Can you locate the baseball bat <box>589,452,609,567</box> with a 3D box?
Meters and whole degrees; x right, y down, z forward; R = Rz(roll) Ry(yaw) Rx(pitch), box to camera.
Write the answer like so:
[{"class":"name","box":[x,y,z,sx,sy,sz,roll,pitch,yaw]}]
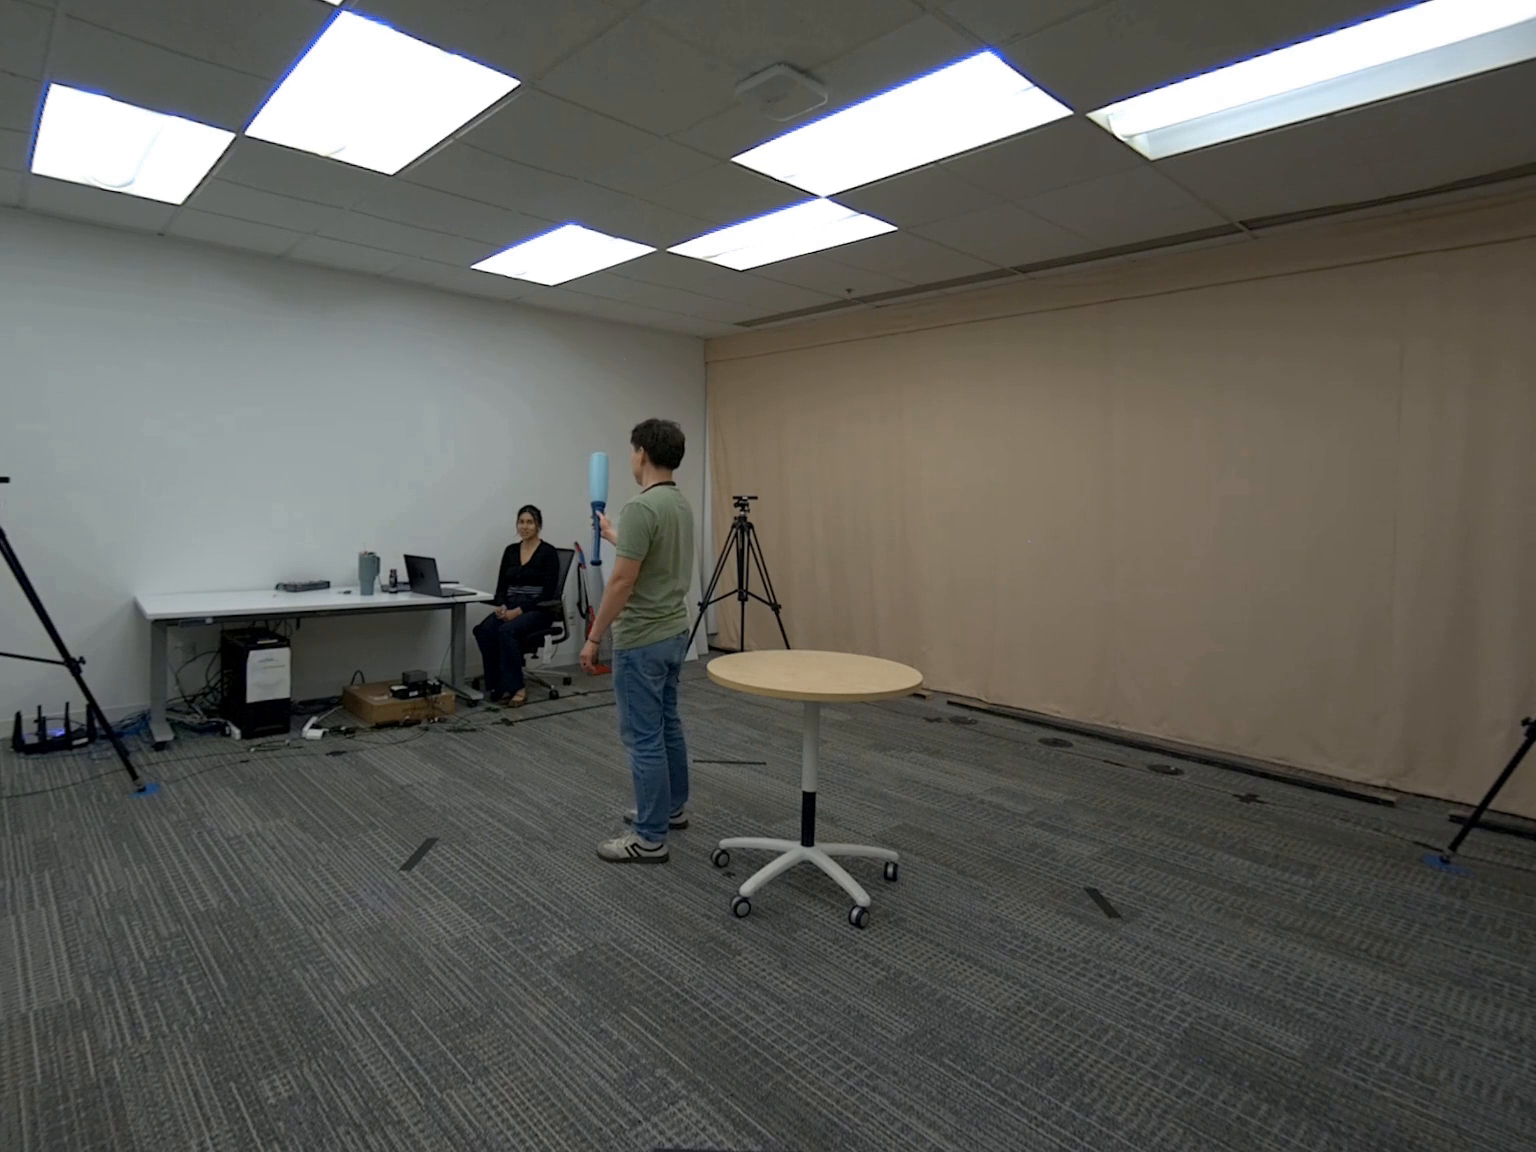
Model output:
[{"class":"baseball bat","box":[-0.761,-0.298,3.762,0.089,0.552,0.088,-2,-23,-2]}]
